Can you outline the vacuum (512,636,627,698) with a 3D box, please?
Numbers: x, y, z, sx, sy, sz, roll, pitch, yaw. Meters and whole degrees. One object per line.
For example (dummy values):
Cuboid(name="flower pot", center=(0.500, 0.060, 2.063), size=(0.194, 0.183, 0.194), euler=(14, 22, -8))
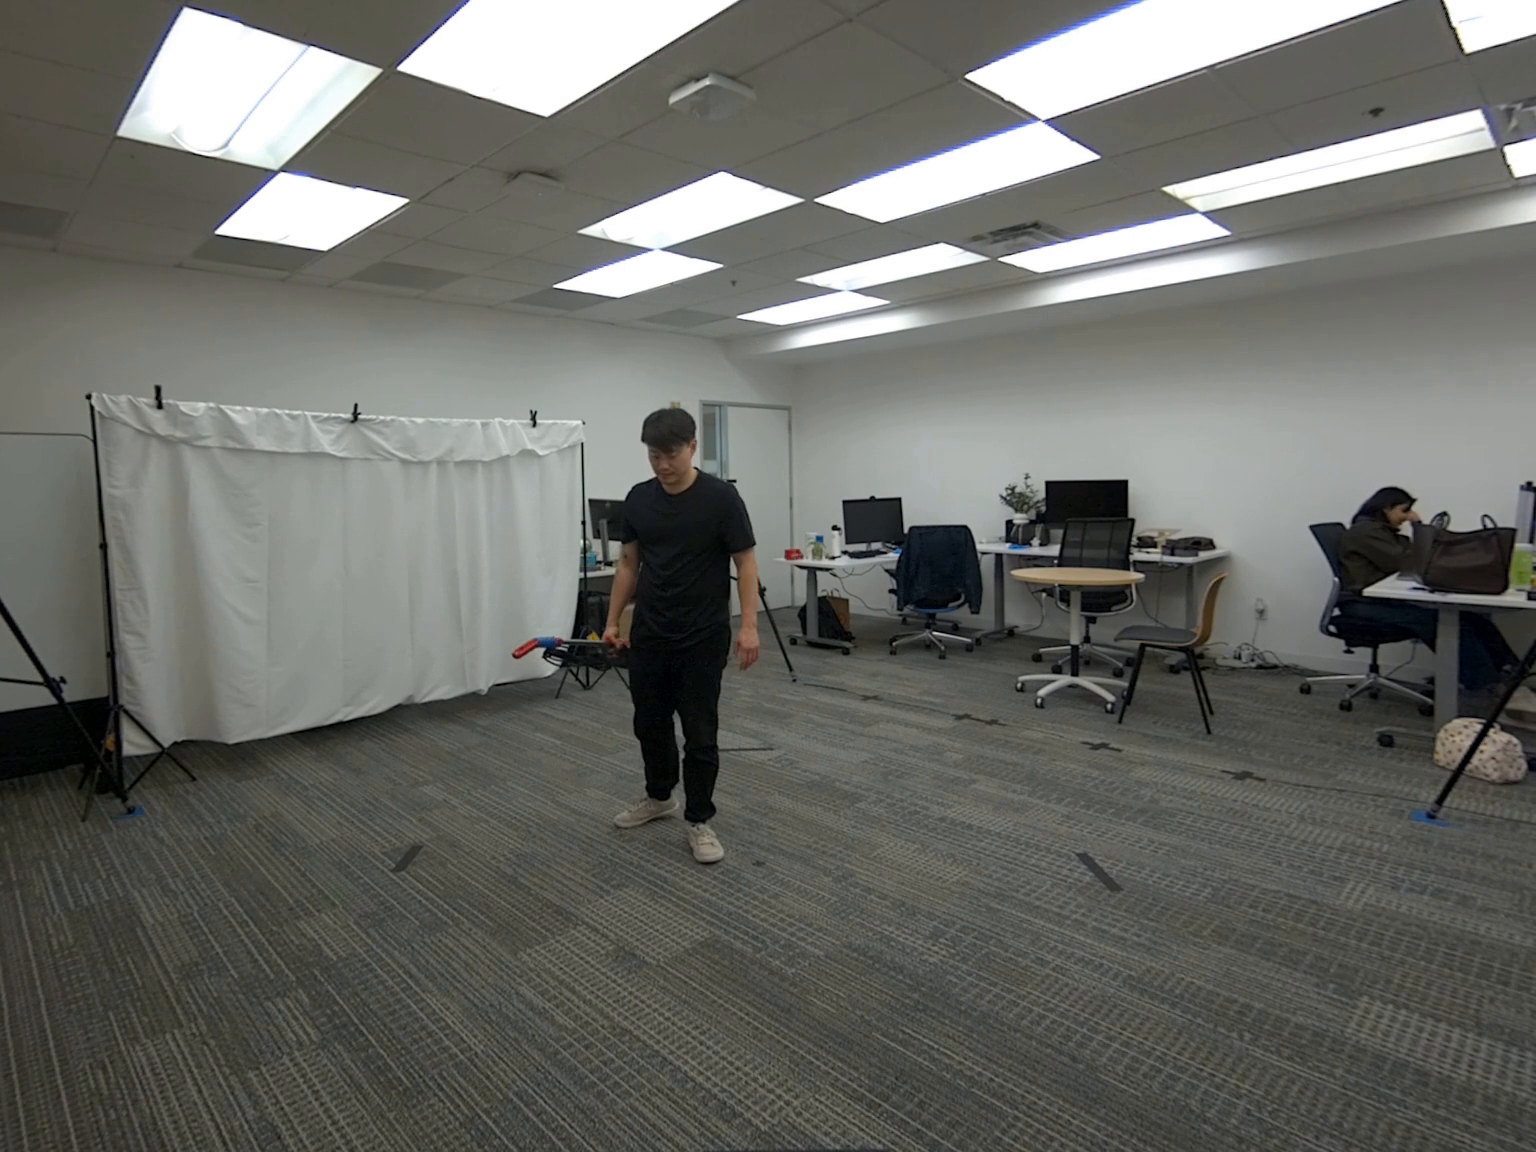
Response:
Cuboid(name="vacuum", center=(-0.649, 0.307, 3.248), size=(0.259, 0.144, 1.023), euler=(15, 0, 20))
